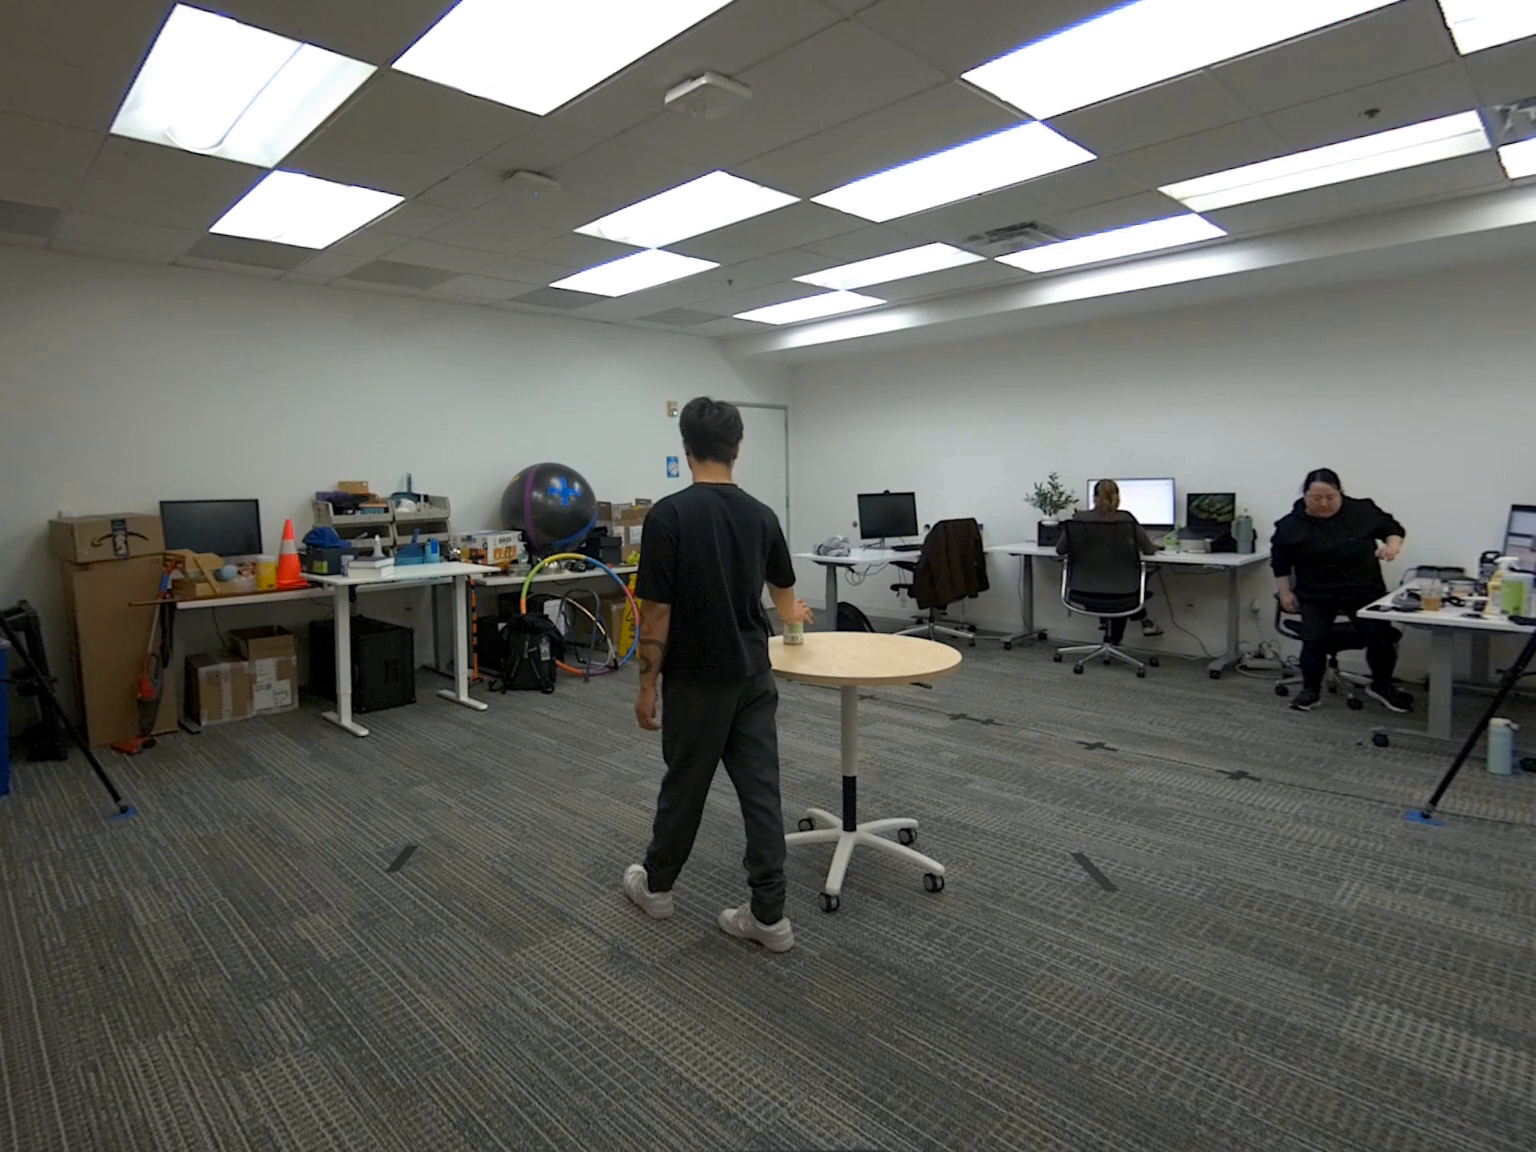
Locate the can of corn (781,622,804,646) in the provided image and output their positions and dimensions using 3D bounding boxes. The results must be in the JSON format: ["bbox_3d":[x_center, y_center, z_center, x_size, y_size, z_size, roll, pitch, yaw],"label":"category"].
[{"bbox_3d":[0.098,0.196,3.157,0.074,0.111,0.074,-2,3,-2],"label":"can of corn"}]
